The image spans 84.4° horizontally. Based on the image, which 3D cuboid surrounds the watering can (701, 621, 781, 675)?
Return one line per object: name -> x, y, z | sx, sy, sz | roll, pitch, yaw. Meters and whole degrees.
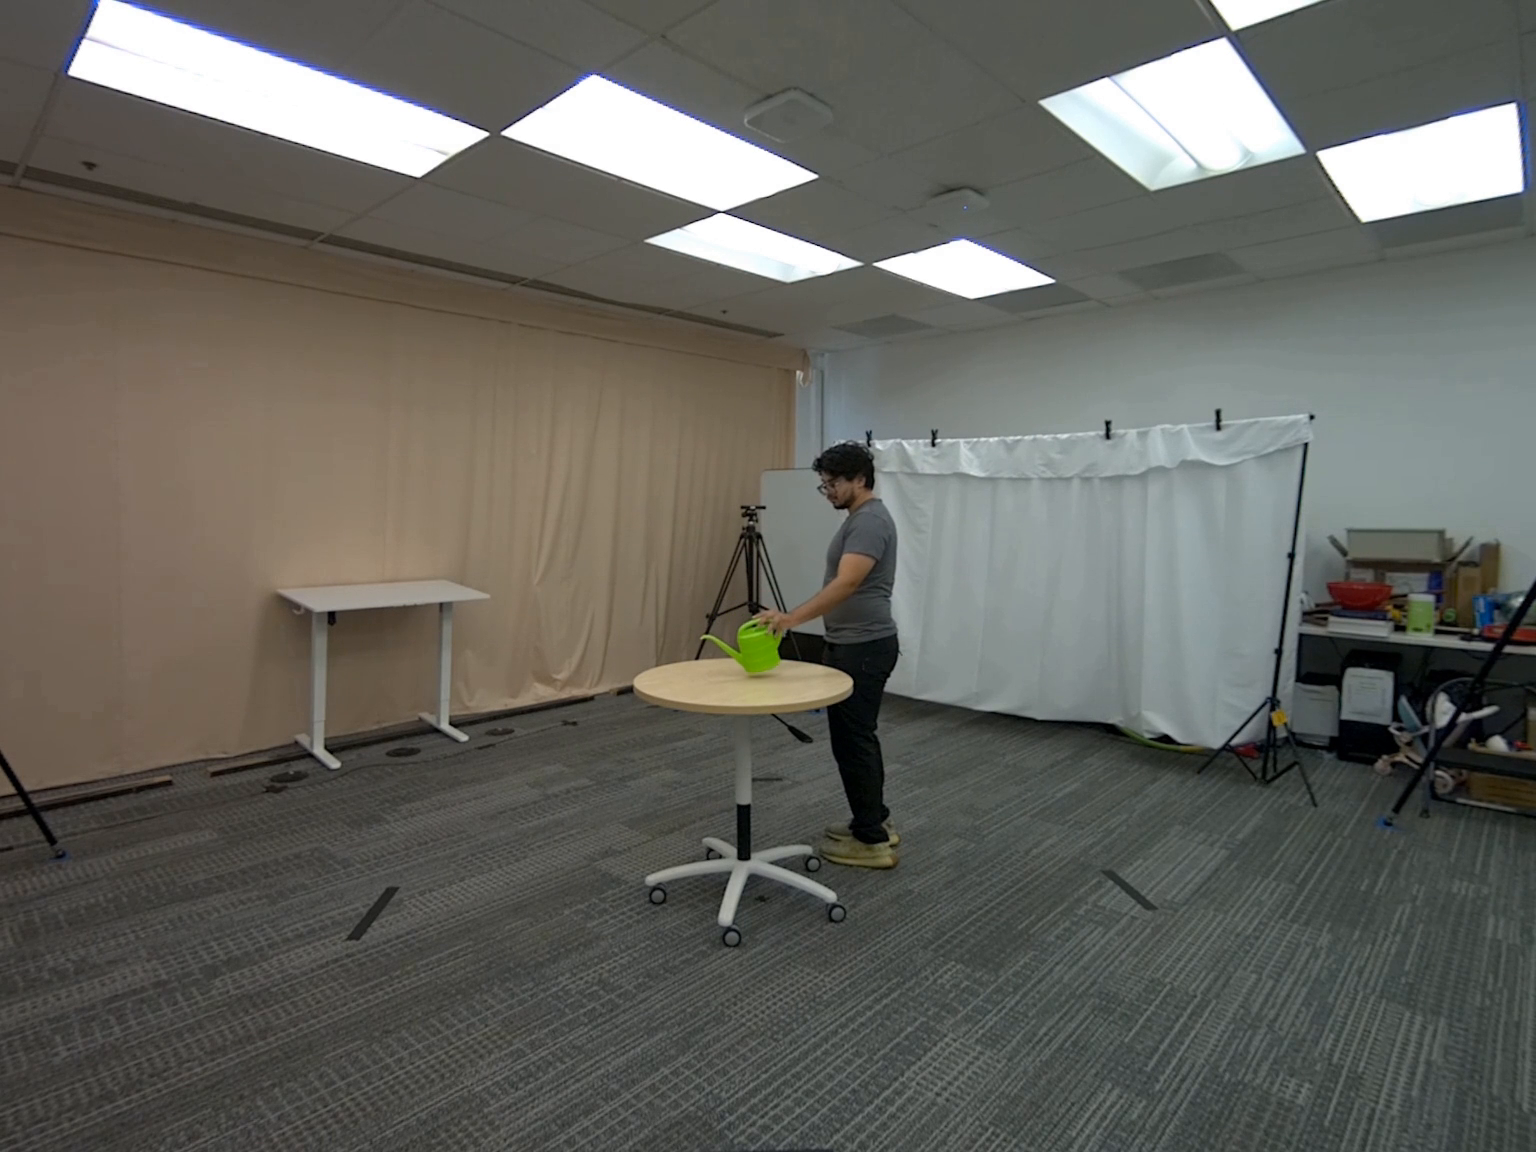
watering can -> -0.078, 0.252, 2.971 | 0.279, 0.175, 0.099 | -12, 14, 5
